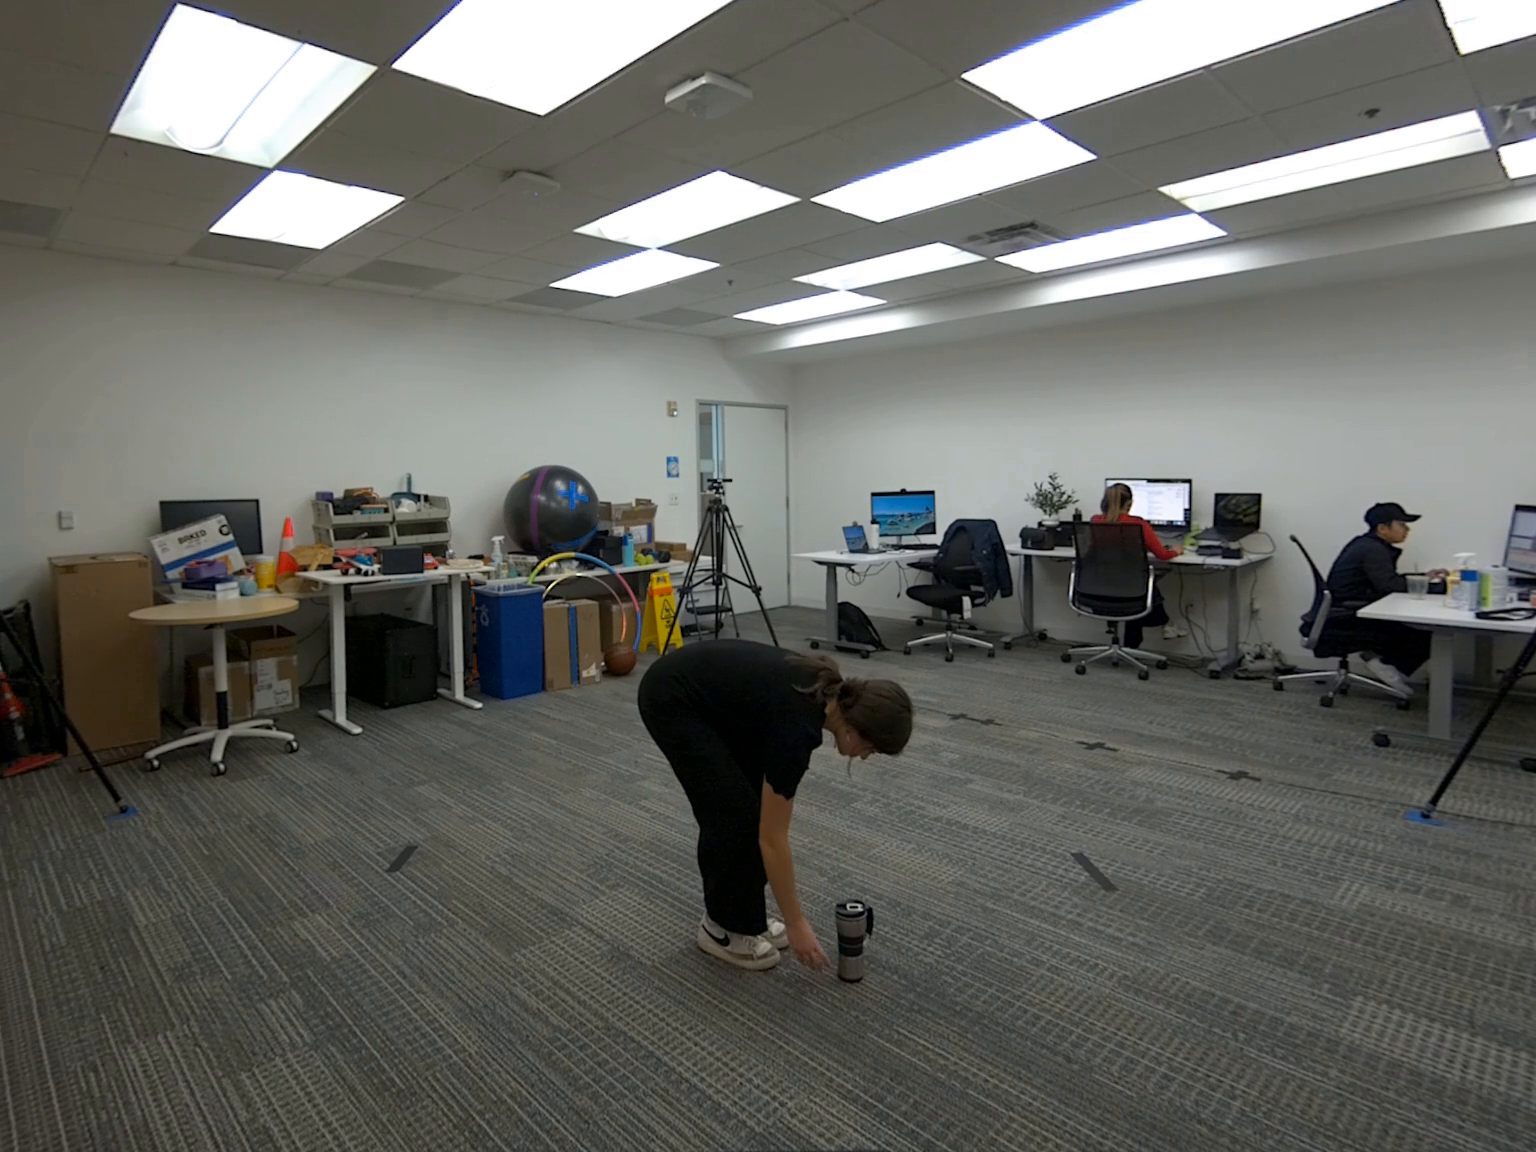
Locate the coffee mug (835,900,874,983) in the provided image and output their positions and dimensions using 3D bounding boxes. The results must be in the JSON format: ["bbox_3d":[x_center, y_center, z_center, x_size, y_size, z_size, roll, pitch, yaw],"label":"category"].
[{"bbox_3d":[0.253,1.020,2.392,0.120,0.202,0.089,-4,3,-16],"label":"coffee mug"}]
